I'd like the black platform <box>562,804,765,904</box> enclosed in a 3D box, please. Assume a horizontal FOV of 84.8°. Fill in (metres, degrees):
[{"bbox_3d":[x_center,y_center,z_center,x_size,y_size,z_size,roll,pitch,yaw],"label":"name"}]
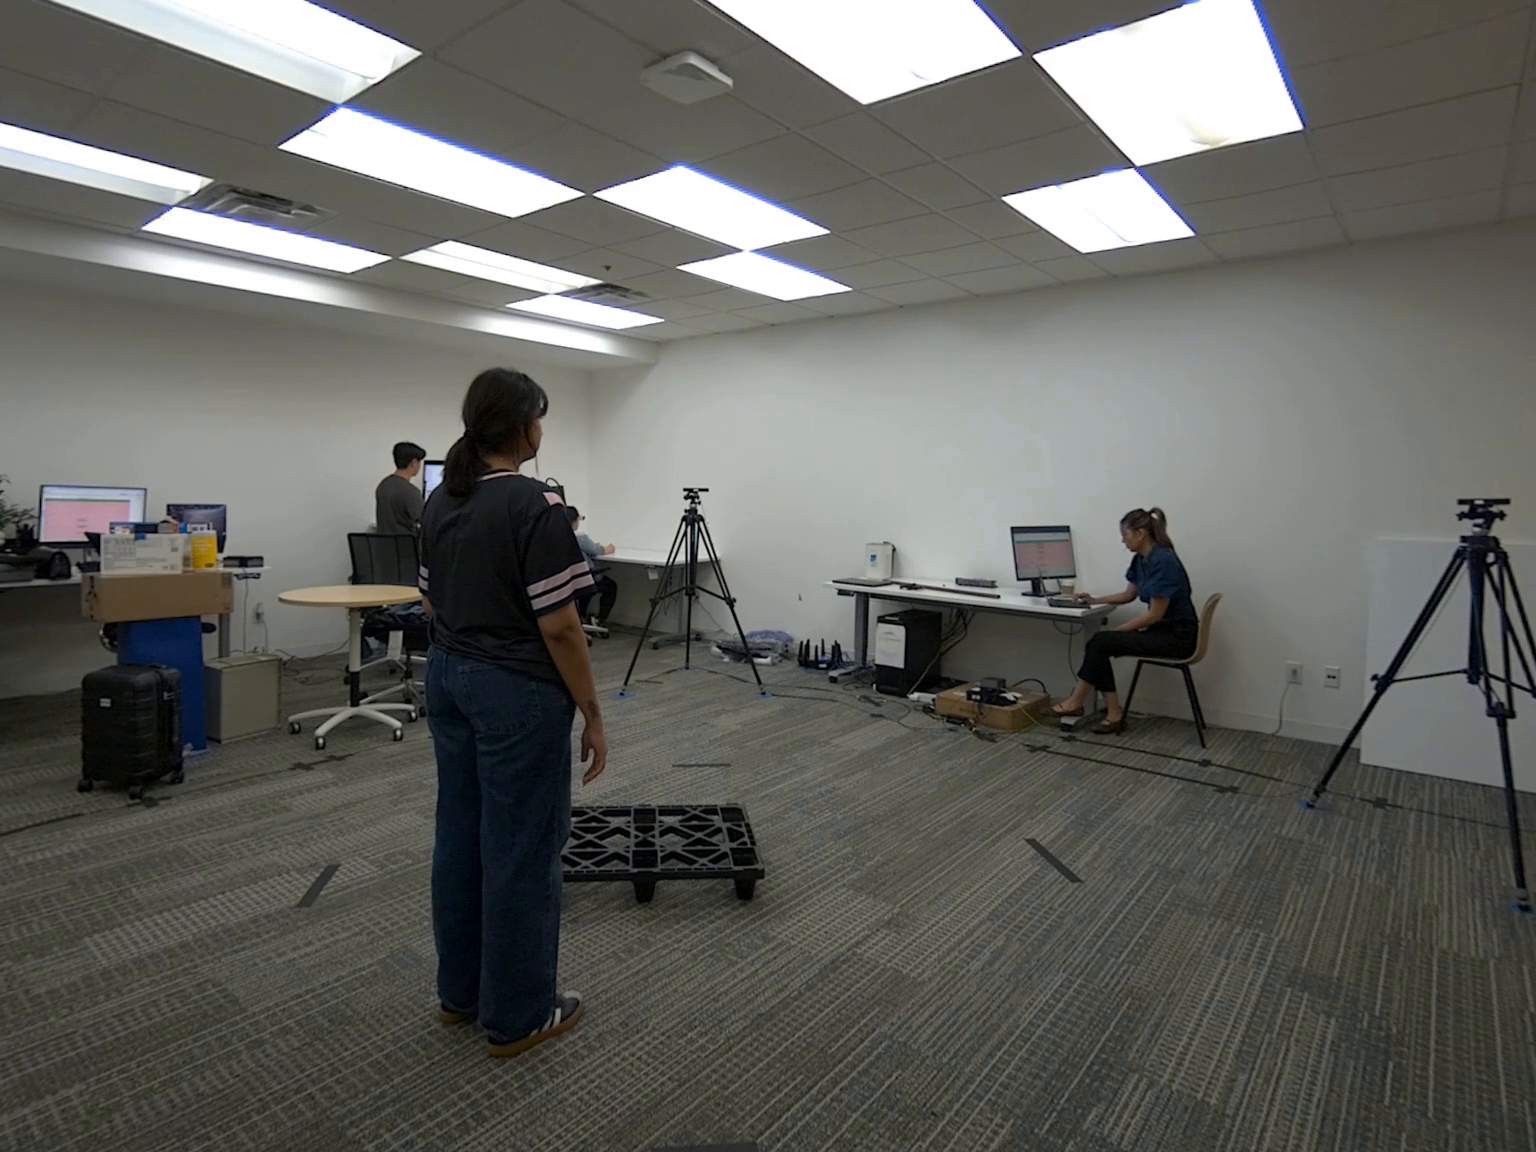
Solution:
[{"bbox_3d":[-0.456,1.000,3.084,0.801,0.143,0.611,1,5,-6],"label":"black platform"}]
